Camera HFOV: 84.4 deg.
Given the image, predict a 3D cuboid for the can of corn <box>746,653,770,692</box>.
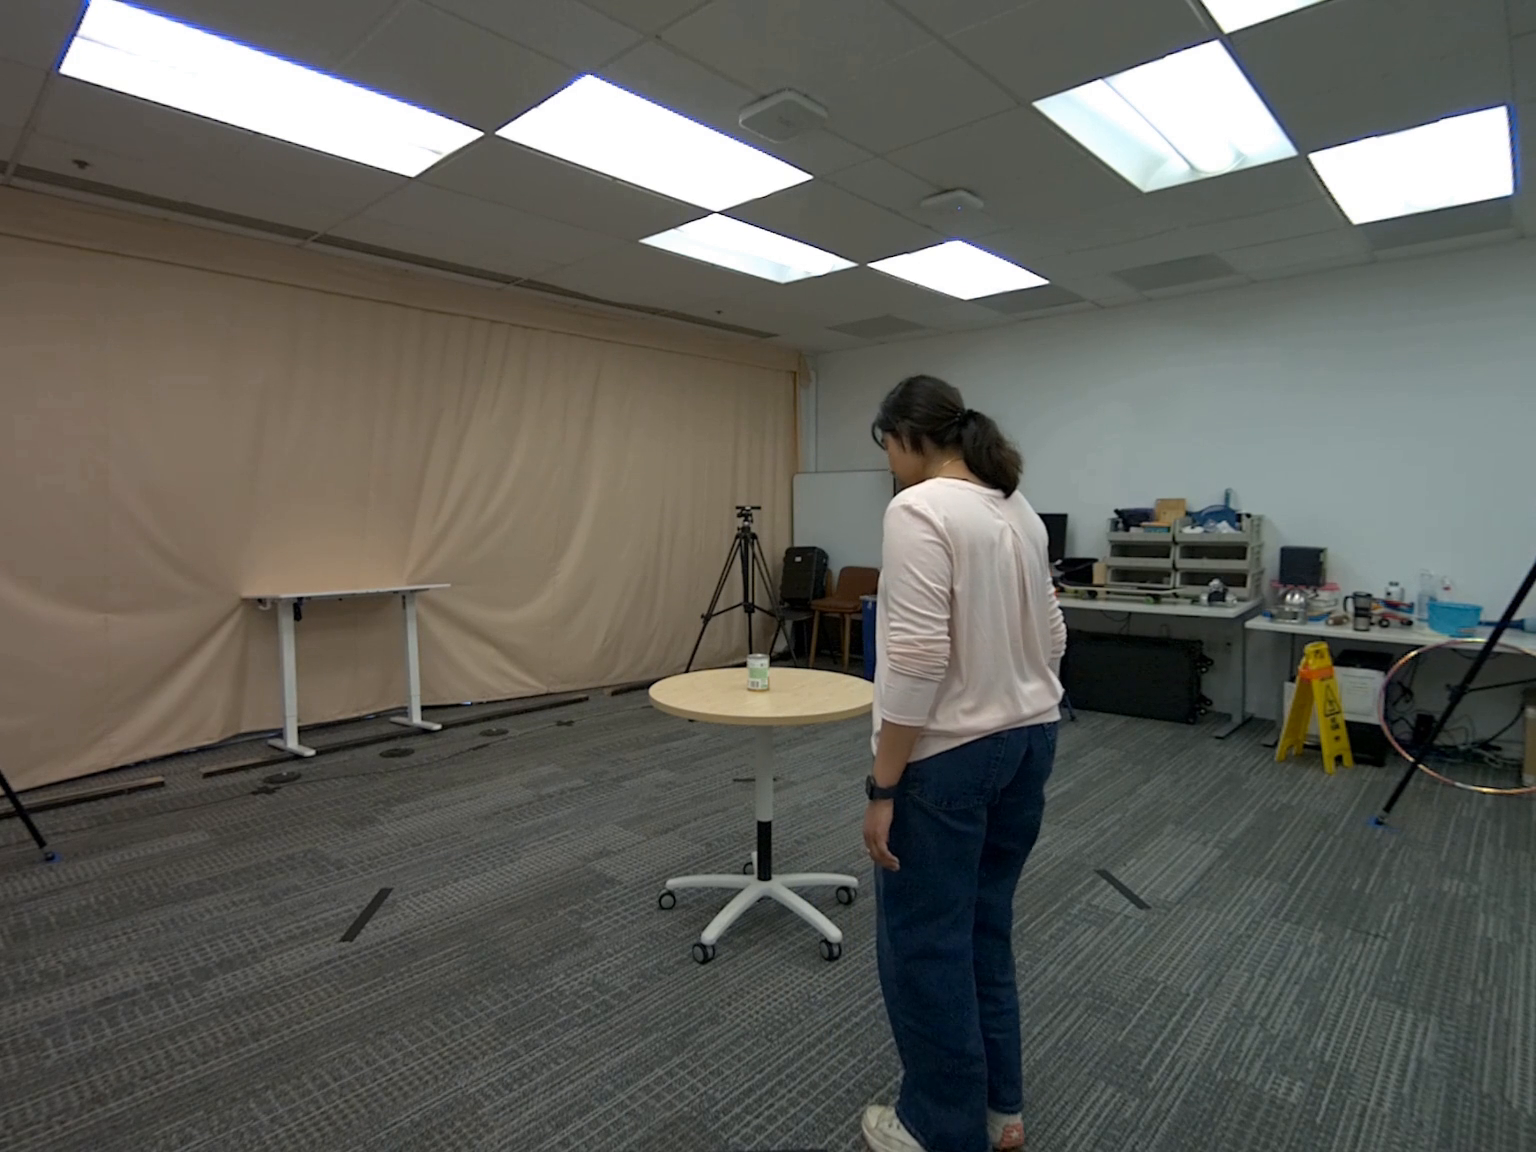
[{"bbox_3d":[-0.028,0.322,2.784,0.074,0.111,0.074,1,3,-2],"label":"can of corn"}]
